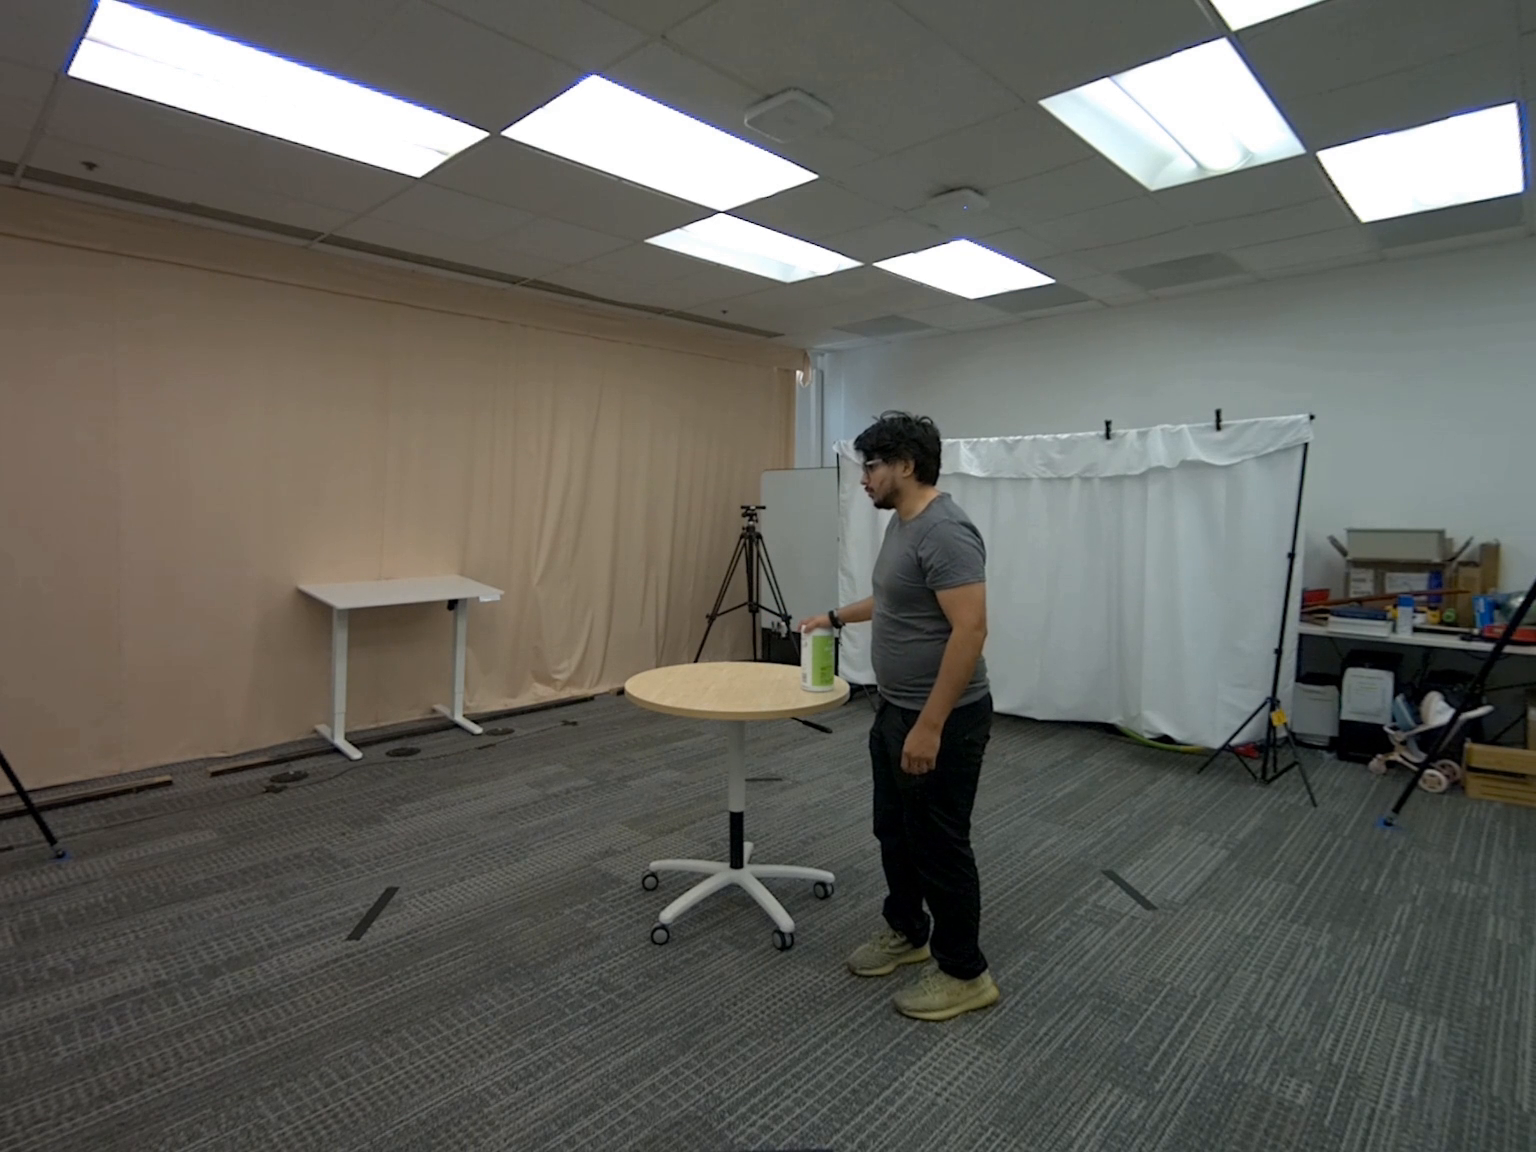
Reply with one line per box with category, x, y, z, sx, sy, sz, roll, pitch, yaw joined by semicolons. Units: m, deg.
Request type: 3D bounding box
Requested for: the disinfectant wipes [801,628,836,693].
disinfectant wipes;0.169;0.271;2.798;0.117;0.217;0.118;4;4;-2
